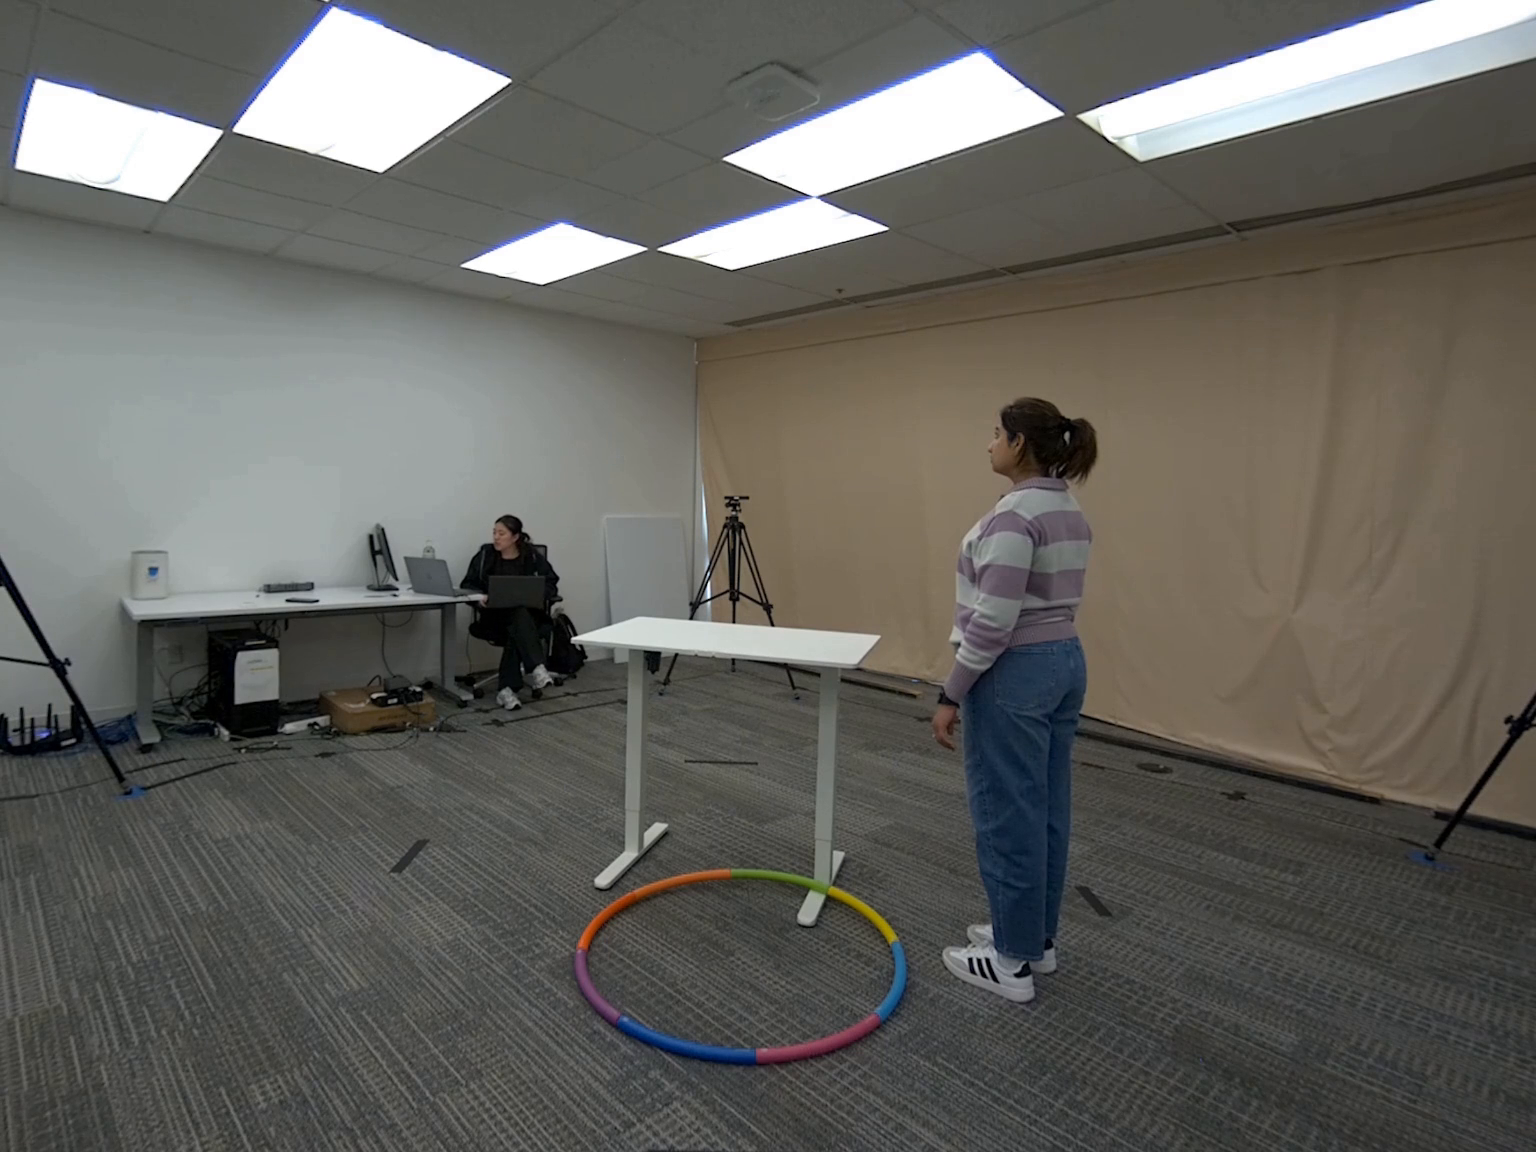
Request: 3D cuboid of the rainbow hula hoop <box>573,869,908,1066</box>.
[{"bbox_3d":[-0.088,1.126,2.541,0.978,0.035,0.983,0,7,-1],"label":"rainbow hula hoop"}]
